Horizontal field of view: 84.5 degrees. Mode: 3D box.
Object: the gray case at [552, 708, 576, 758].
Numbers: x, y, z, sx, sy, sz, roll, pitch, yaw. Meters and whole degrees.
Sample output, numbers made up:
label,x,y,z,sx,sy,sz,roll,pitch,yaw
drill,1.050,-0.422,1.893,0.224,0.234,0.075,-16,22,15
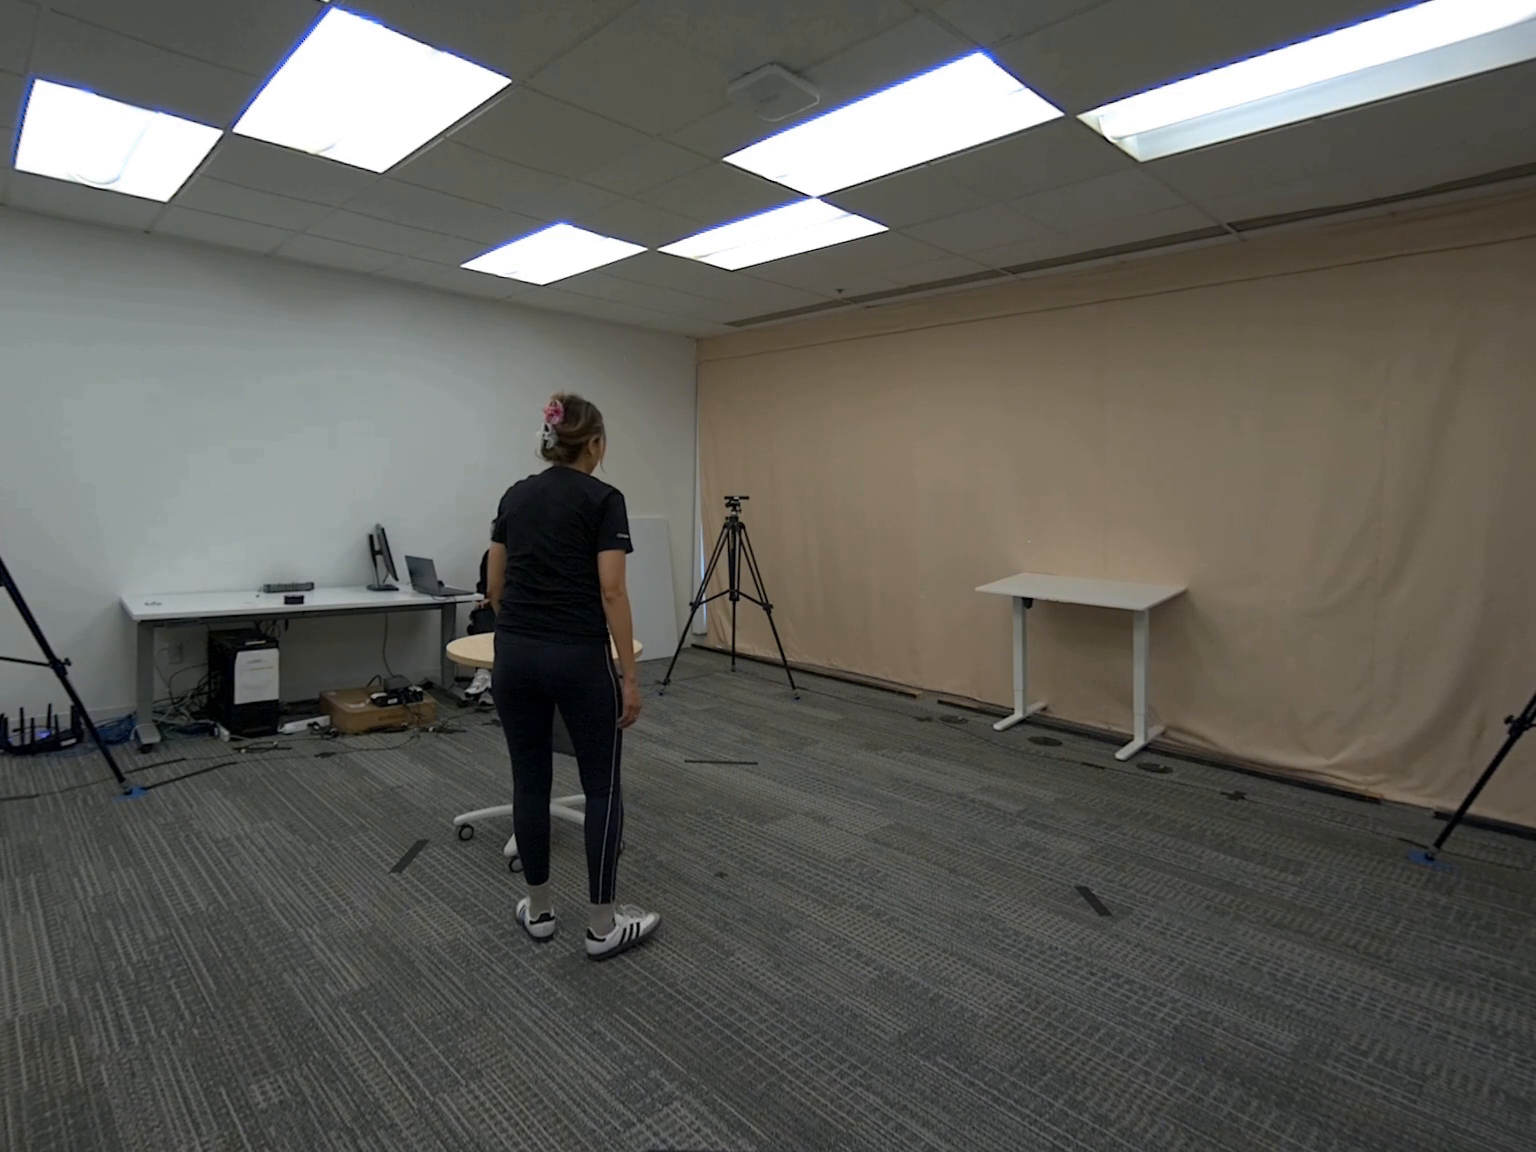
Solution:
label,x,y,z,sx,sy,sz,roll,pitch,yaw
gray case,-0.720,0.459,2.823,0.254,0.262,0.105,13,-11,-11
